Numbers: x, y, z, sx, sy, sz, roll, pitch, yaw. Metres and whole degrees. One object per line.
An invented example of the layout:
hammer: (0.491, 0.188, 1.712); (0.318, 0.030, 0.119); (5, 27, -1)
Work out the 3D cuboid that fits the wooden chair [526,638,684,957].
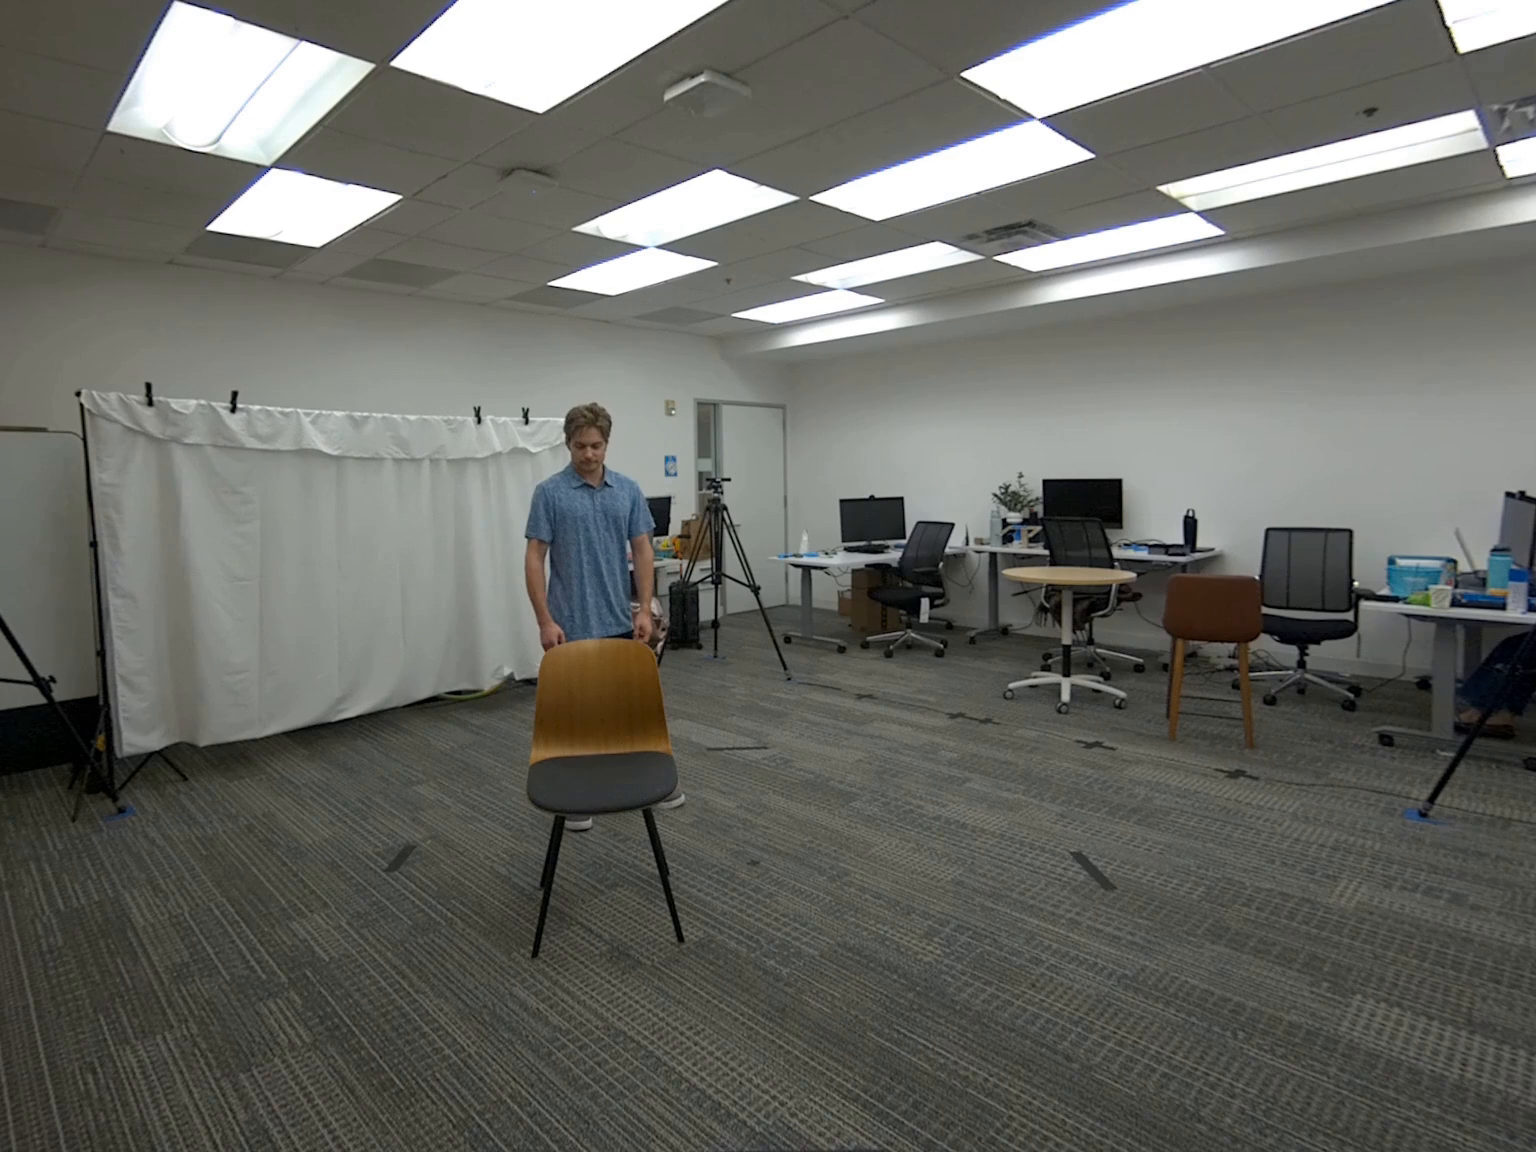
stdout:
wooden chair: (-0.517, 0.666, 2.720); (0.473, 0.877, 0.528); (-1, 0, -11)
